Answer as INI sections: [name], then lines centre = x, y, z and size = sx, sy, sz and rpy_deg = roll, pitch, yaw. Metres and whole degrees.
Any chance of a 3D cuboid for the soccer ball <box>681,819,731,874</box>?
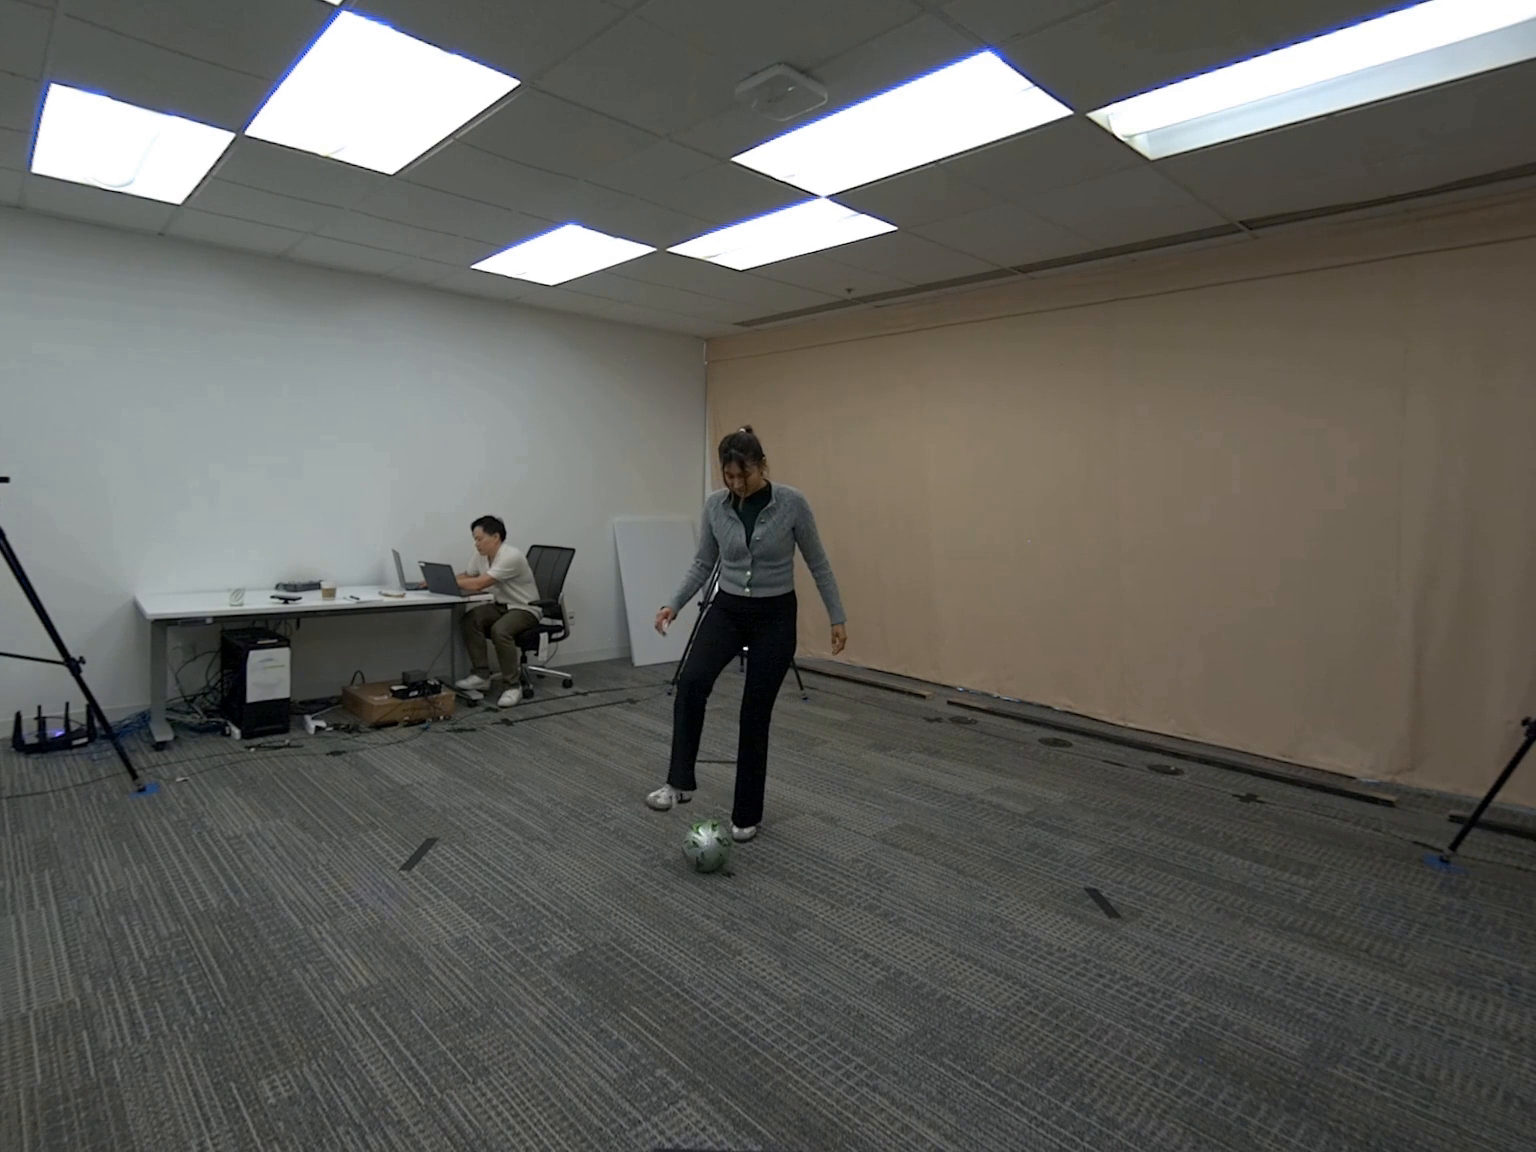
[soccer ball]
centre = -0.236, 1.006, 3.135
size = 0.187, 0.187, 0.188
rpy_deg = 1, 4, -1
